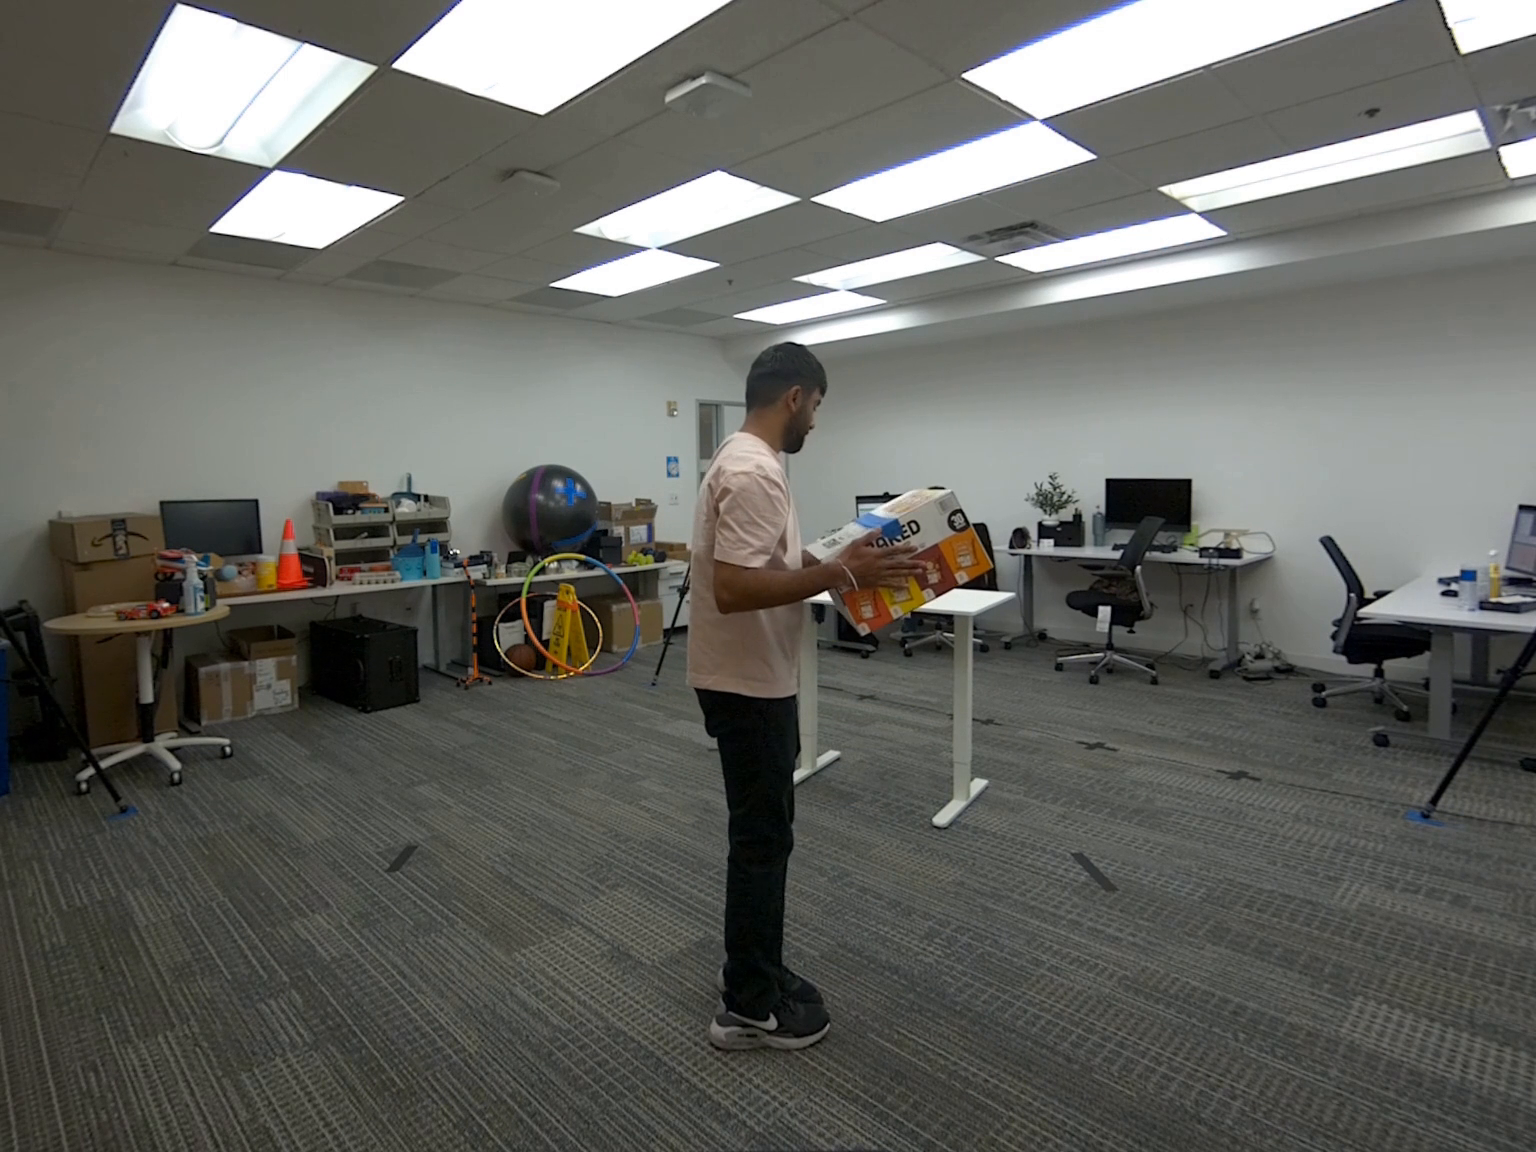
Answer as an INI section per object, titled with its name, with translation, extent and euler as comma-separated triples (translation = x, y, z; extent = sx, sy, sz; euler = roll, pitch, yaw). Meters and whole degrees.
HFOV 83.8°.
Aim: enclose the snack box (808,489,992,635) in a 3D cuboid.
[snack box]
translation = 0.303, -0.045, 2.129
extent = 0.340, 0.205, 0.407
euler = -28, 5, 0
